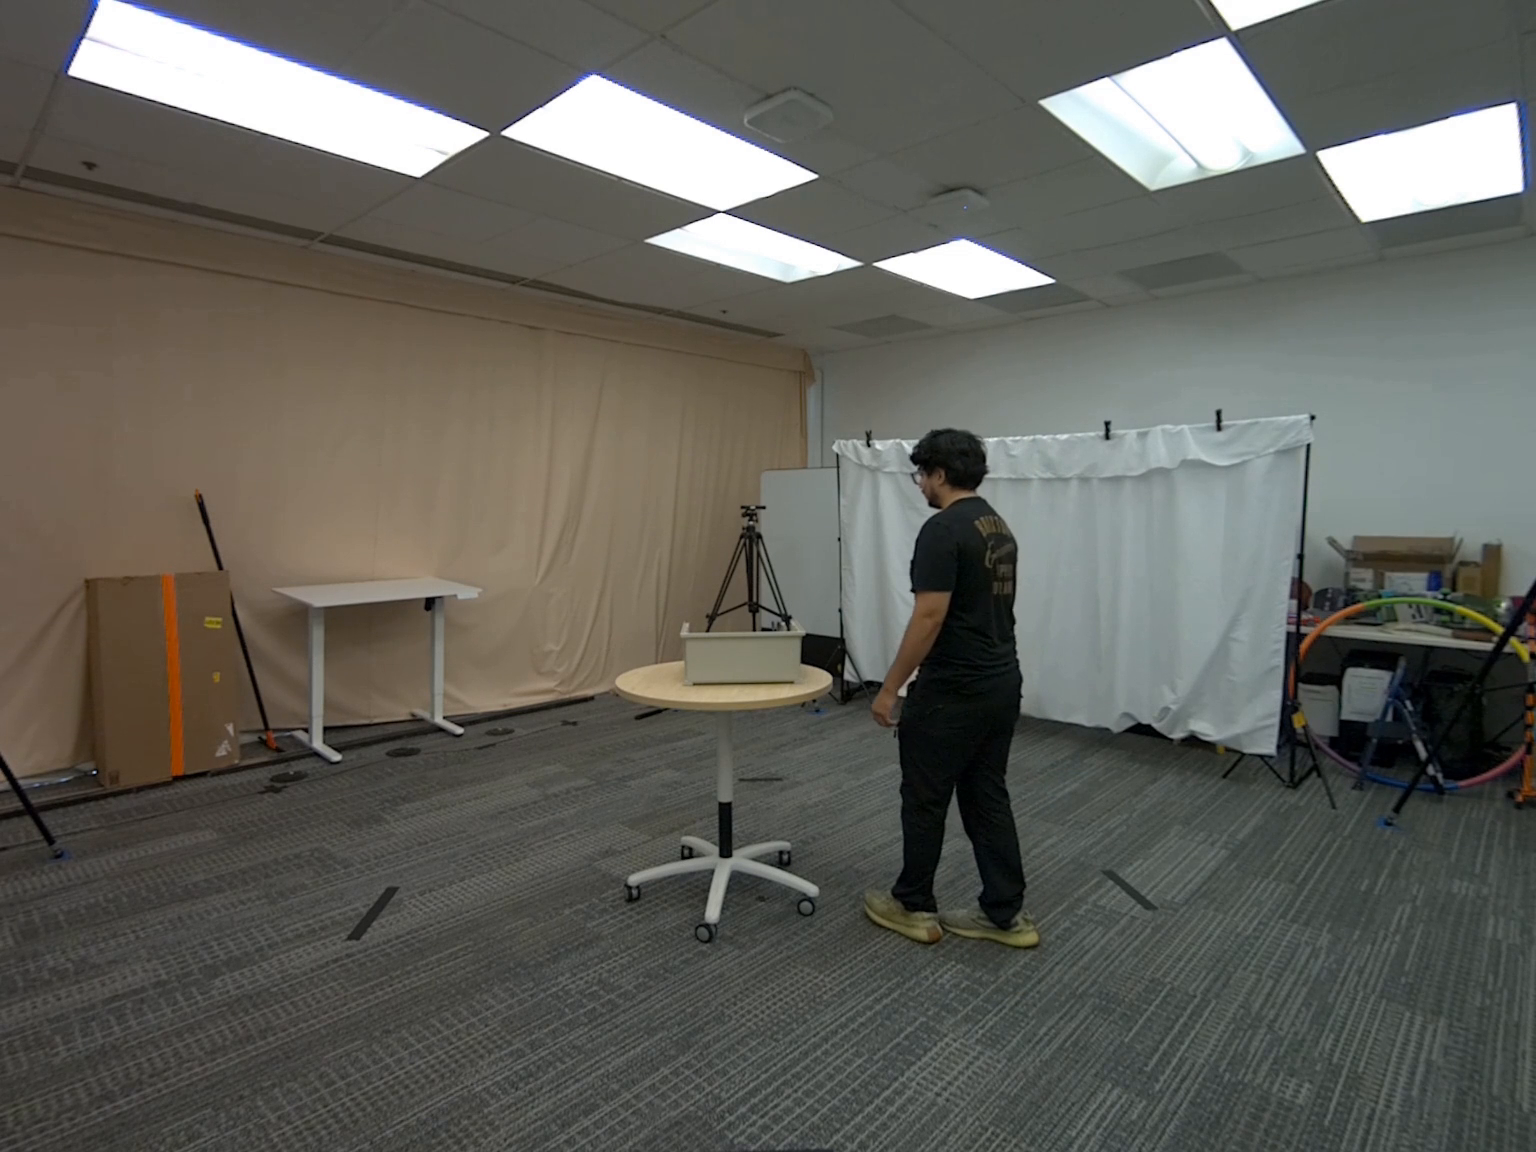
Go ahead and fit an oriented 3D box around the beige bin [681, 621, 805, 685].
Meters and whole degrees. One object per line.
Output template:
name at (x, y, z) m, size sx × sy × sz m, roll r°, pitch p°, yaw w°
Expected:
beige bin at (-0.098, 0.272, 3.038) m, size 0.421 × 0.188 × 0.379 m, roll -1°, pitch 6°, yaw -3°
